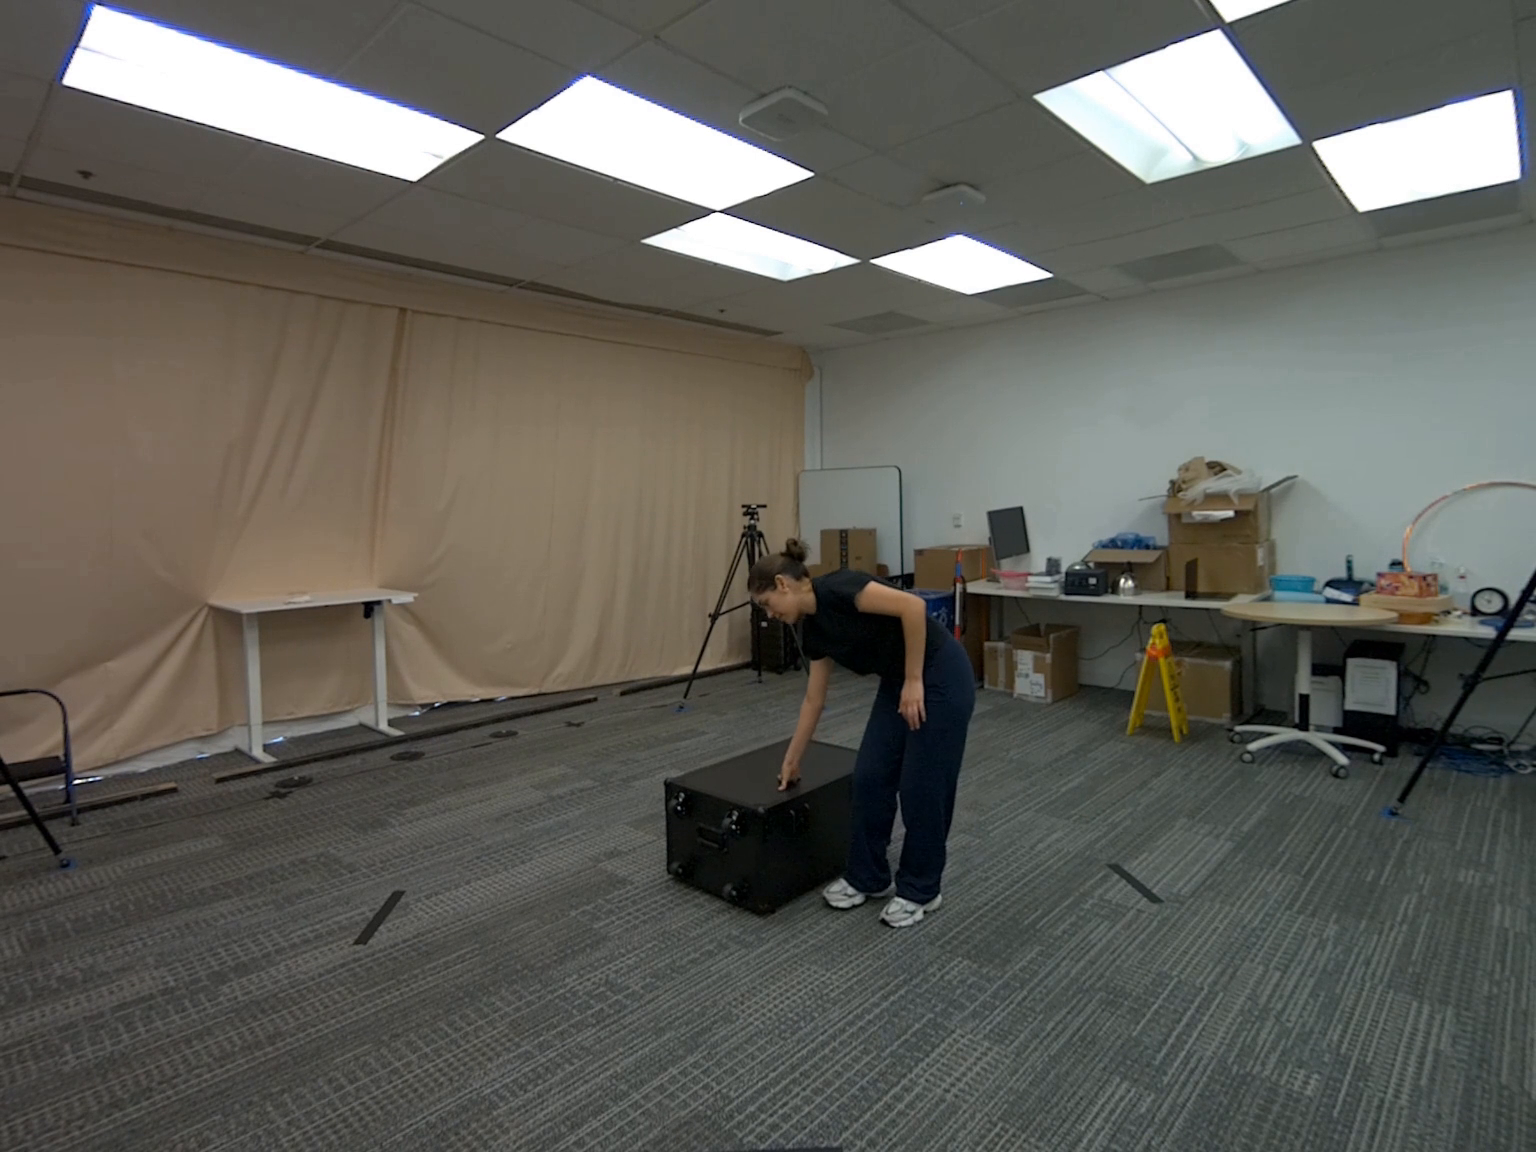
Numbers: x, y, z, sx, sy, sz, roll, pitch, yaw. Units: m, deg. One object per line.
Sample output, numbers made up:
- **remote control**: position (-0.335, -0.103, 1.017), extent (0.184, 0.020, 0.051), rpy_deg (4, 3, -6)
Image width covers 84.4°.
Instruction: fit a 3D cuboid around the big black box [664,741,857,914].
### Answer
- **big black box**: position (0.049, 0.912, 3.226), extent (0.538, 0.395, 0.836), rpy_deg (3, 6, 42)
